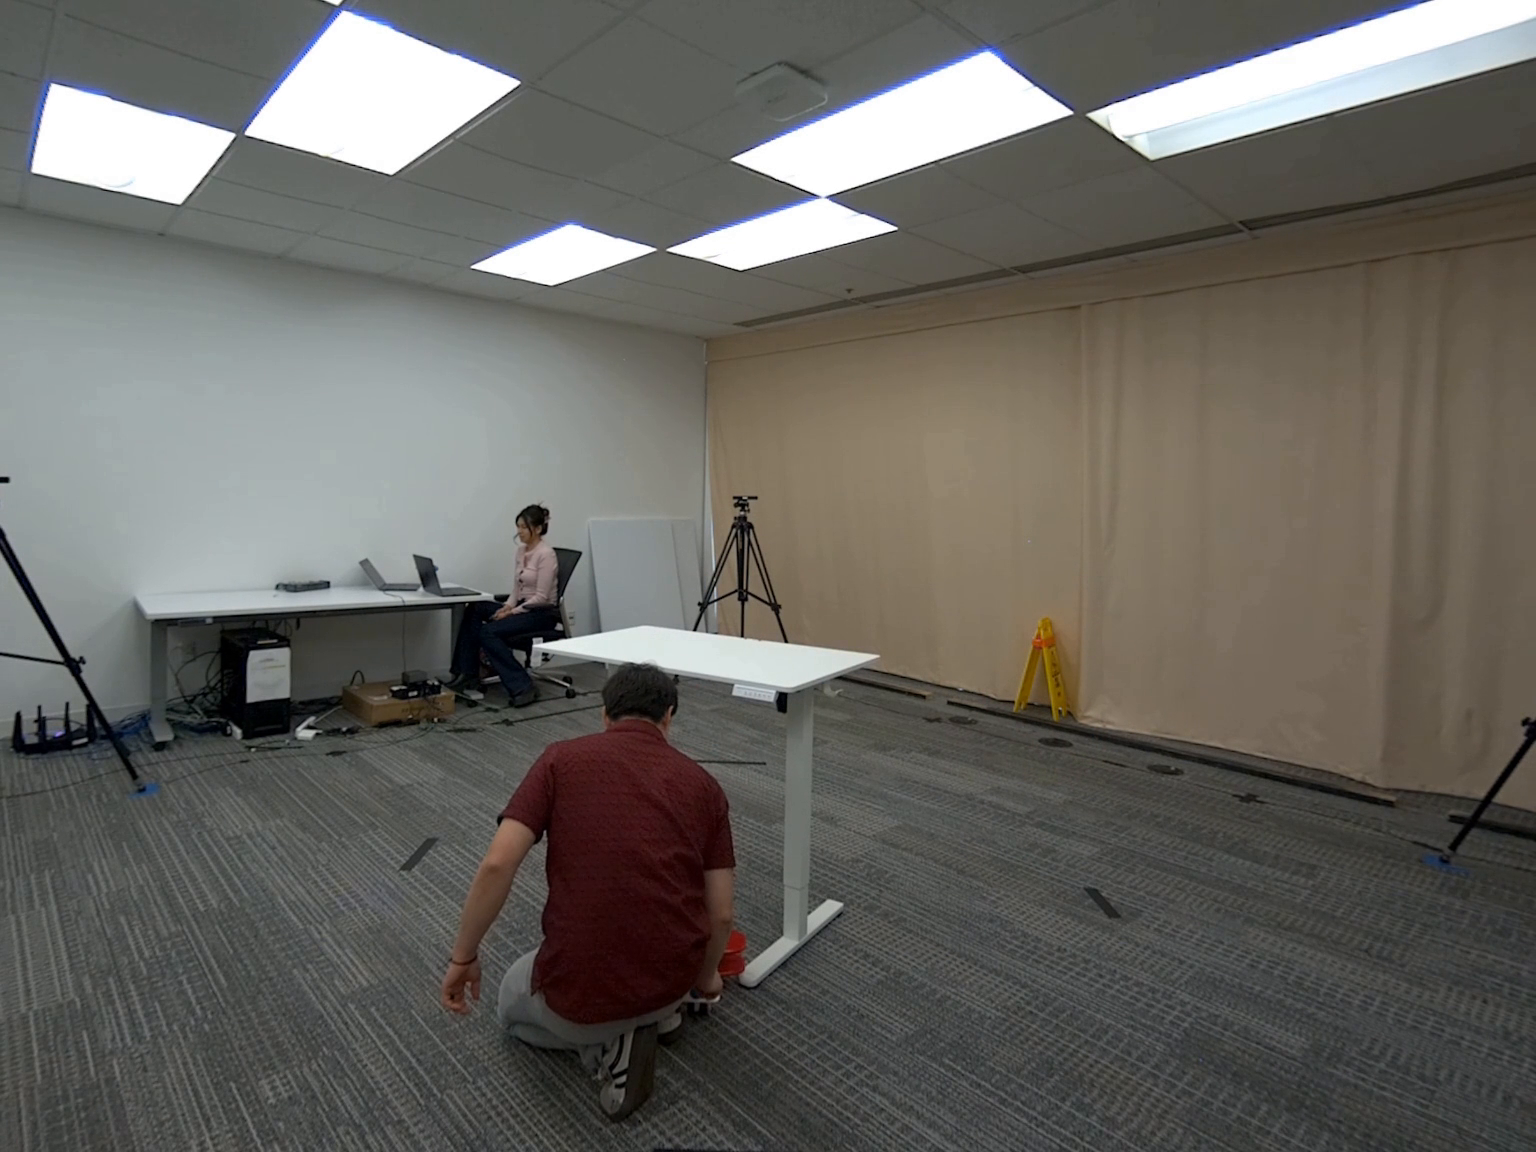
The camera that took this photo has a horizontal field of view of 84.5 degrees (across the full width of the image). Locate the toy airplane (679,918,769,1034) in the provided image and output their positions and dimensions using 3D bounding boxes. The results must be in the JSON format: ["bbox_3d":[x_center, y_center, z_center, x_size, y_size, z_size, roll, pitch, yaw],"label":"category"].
[{"bbox_3d":[-0.173,1.094,2.358,0.246,0.156,0.264,-1,3,-27],"label":"toy airplane"}]
